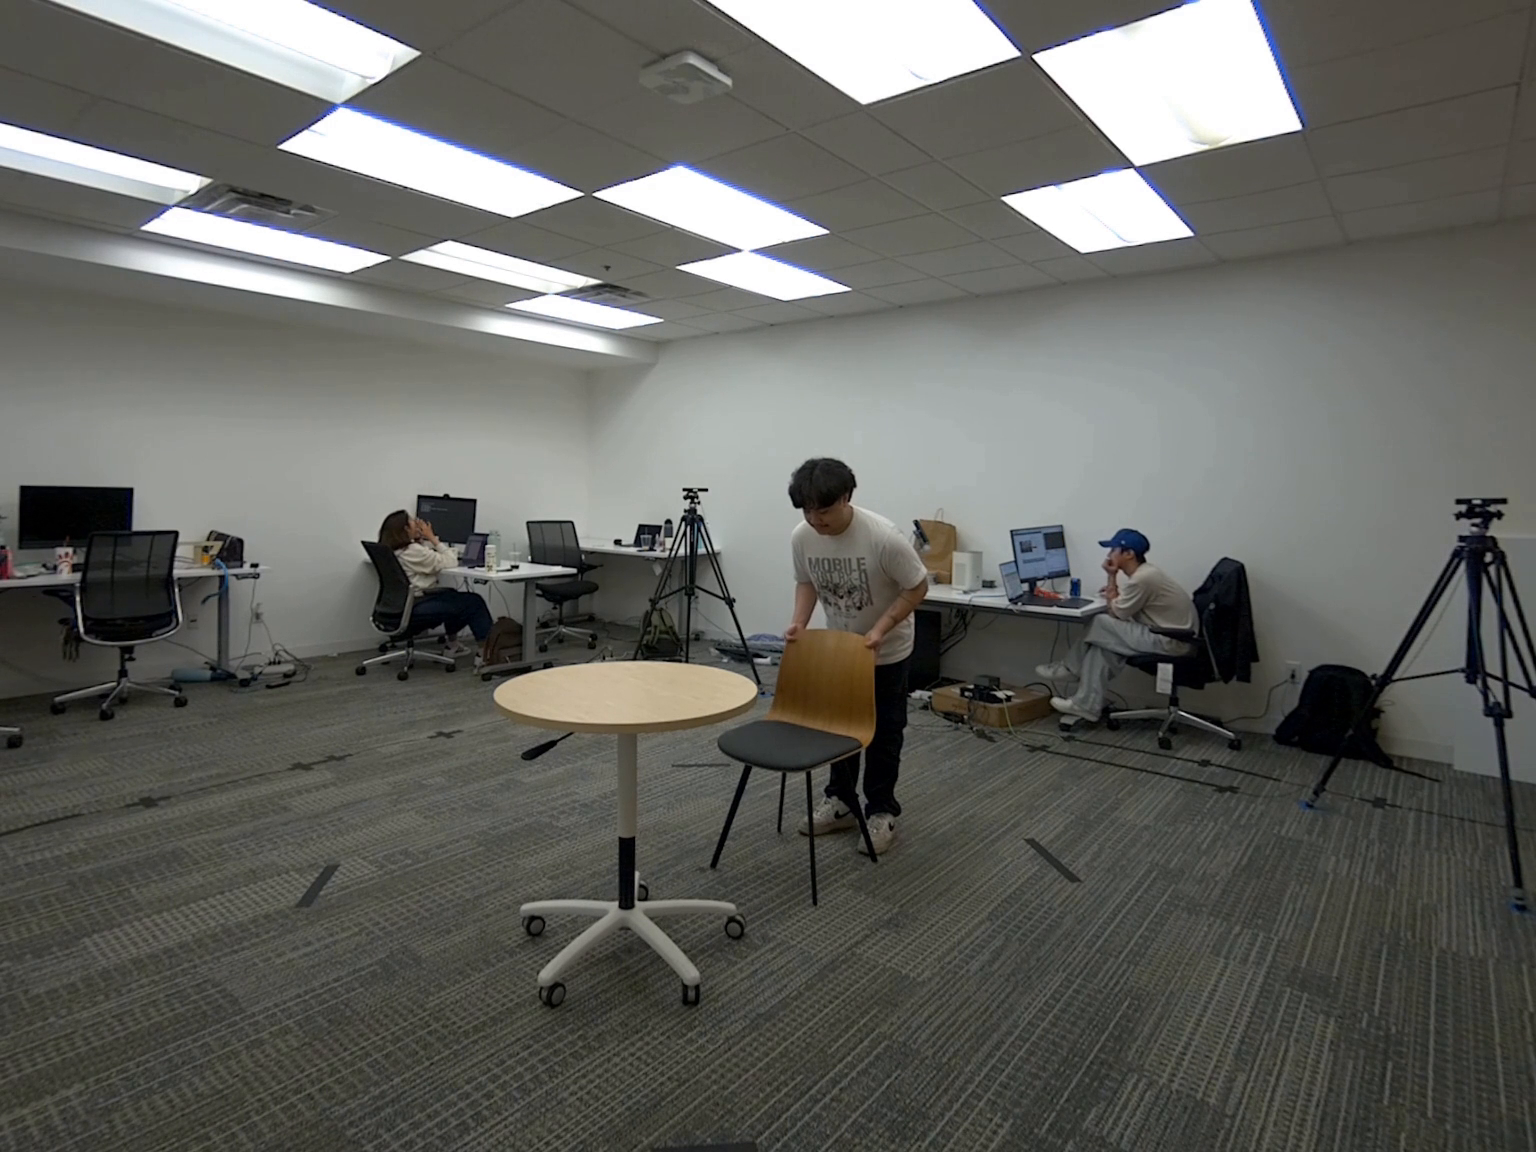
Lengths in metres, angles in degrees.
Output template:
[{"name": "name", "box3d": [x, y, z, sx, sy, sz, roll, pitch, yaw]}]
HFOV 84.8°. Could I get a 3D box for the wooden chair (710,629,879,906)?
[{"name": "wooden chair", "box3d": [0.096, 0.645, 3.127, 0.494, 0.878, 0.506, 4, 0, 36]}]
